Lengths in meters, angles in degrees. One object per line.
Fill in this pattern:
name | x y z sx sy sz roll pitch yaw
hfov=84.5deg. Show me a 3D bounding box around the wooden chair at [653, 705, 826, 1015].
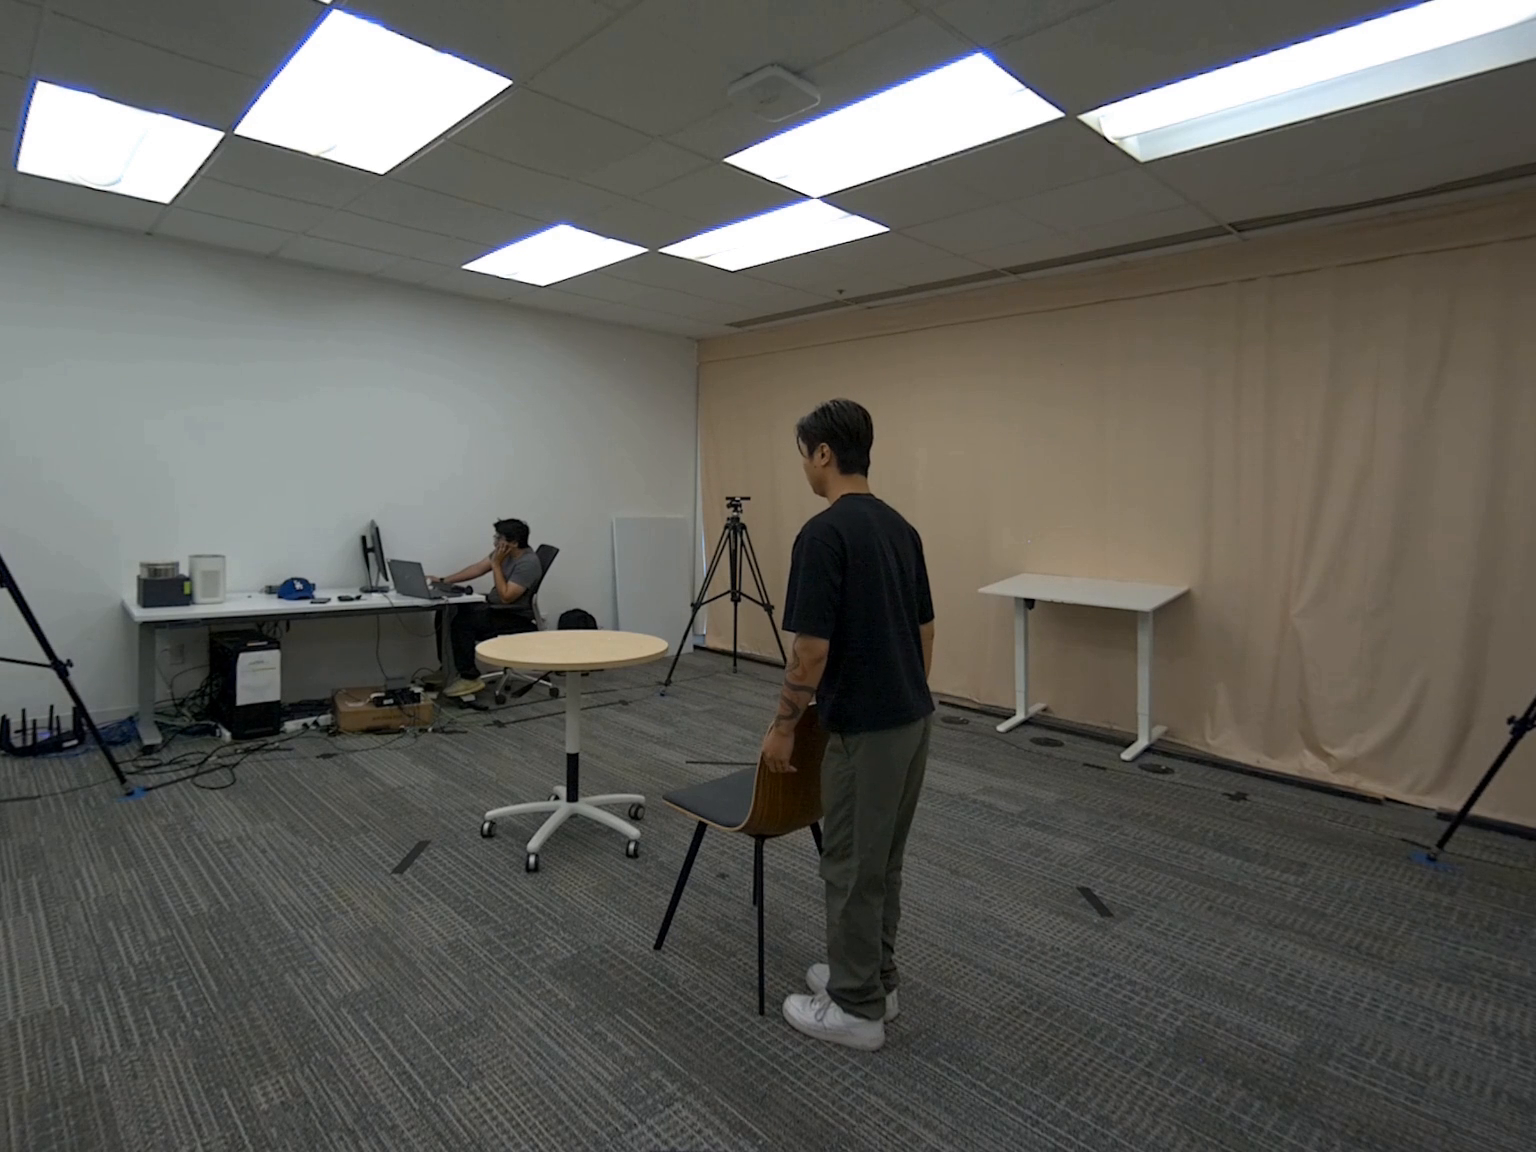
wooden chair | -0.032 0.729 2.556 0.538 0.873 0.467 11 10 43
